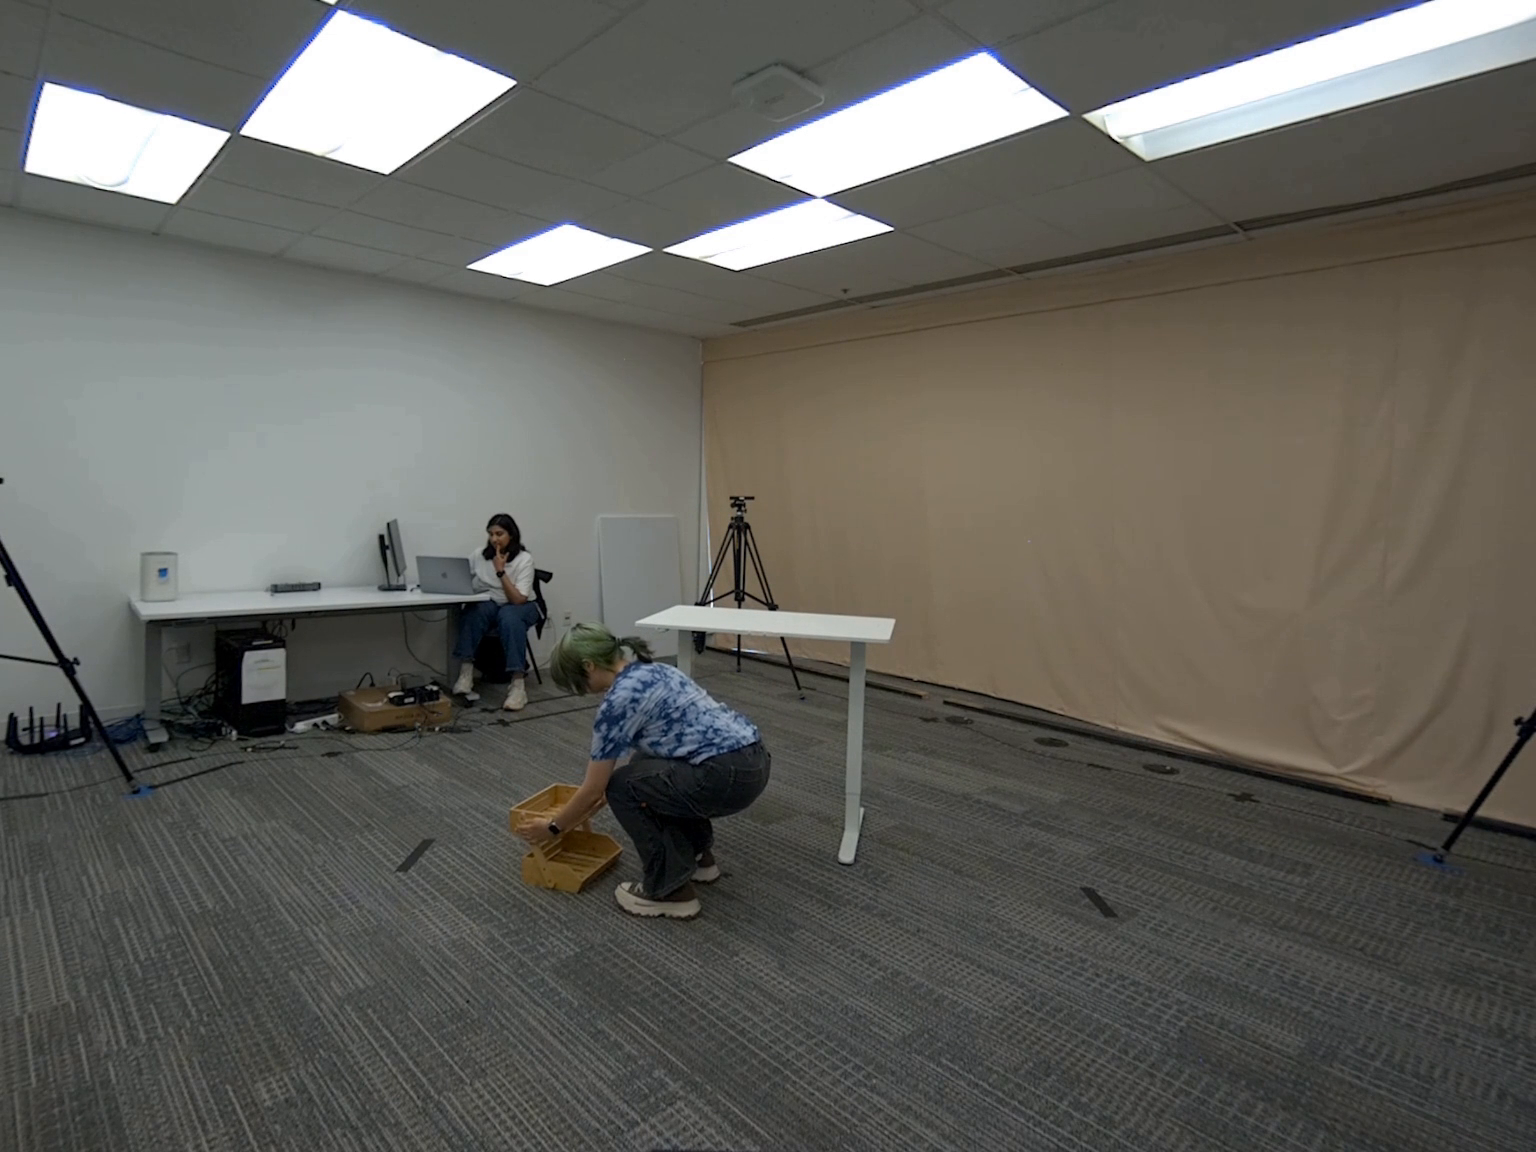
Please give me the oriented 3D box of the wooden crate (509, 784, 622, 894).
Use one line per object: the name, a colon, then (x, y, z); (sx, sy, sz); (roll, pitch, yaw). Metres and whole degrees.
wooden crate: (-0.740, 0.954, 3.109); (0.307, 0.272, 0.320); (2, 5, 19)
